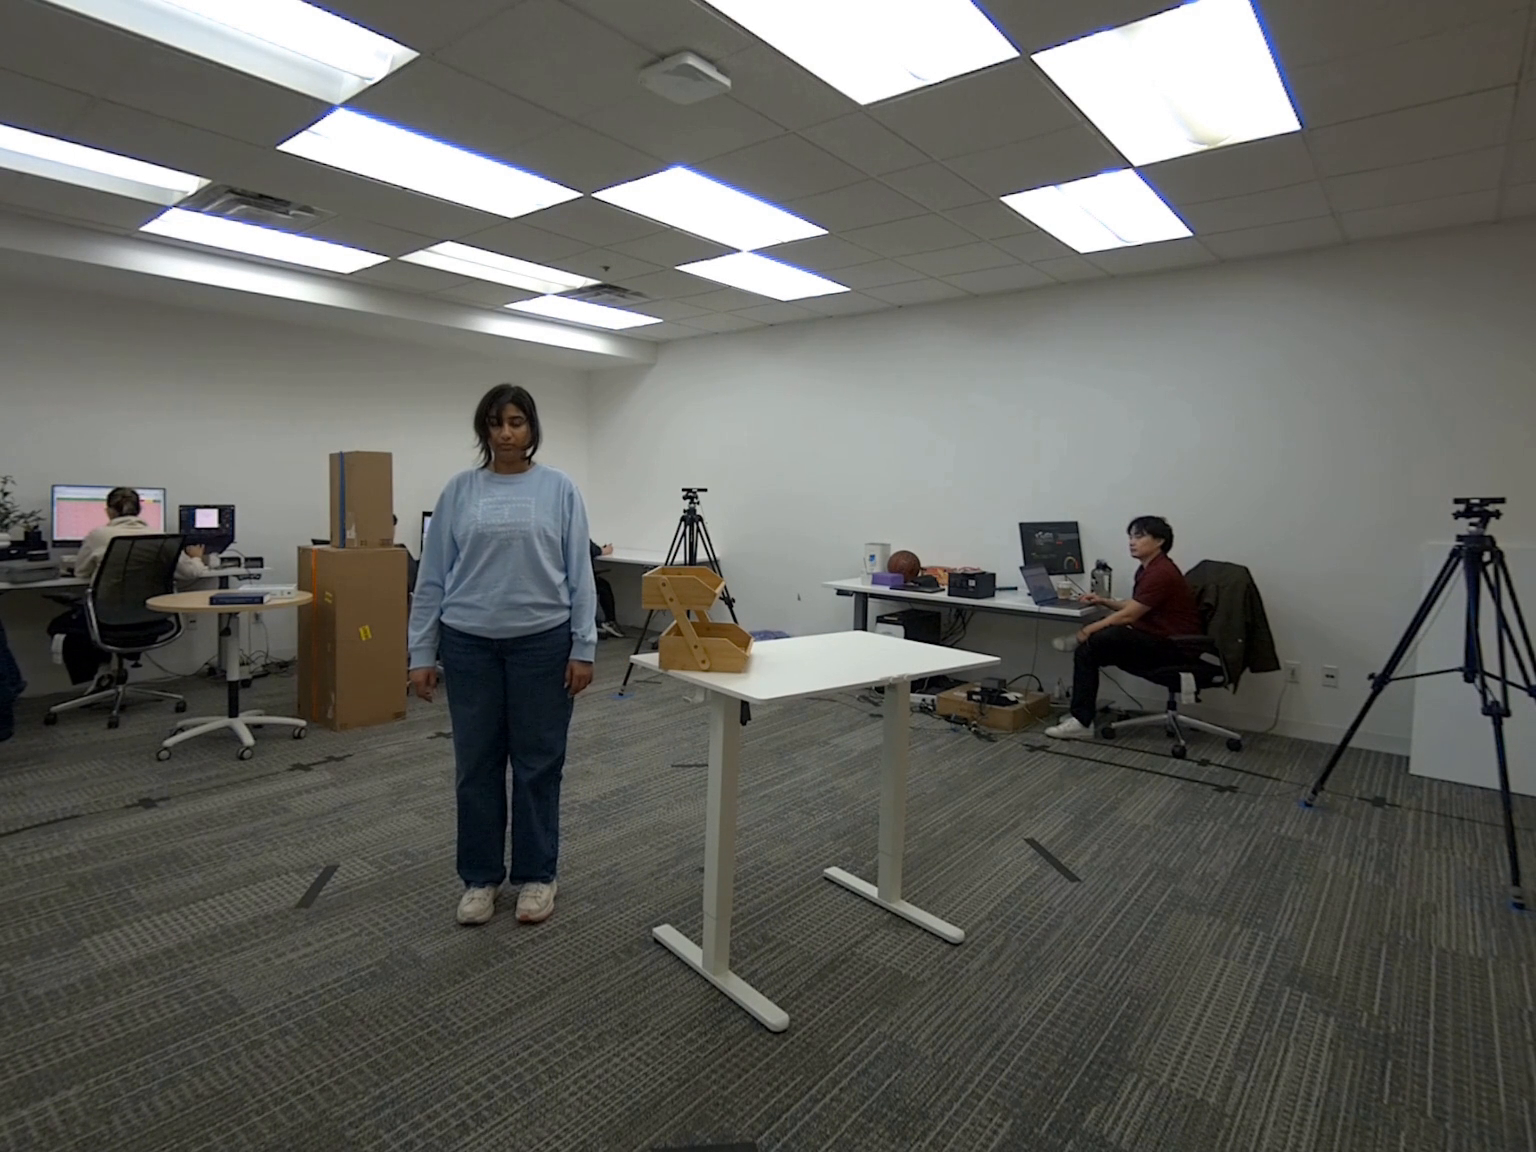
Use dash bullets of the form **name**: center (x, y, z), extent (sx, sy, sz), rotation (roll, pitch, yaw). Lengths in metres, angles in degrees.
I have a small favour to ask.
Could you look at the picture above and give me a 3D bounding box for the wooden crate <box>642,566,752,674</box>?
- **wooden crate**: center (-0.196, 0.118, 2.482), extent (0.303, 0.272, 0.324), rotation (2, 4, 3)
